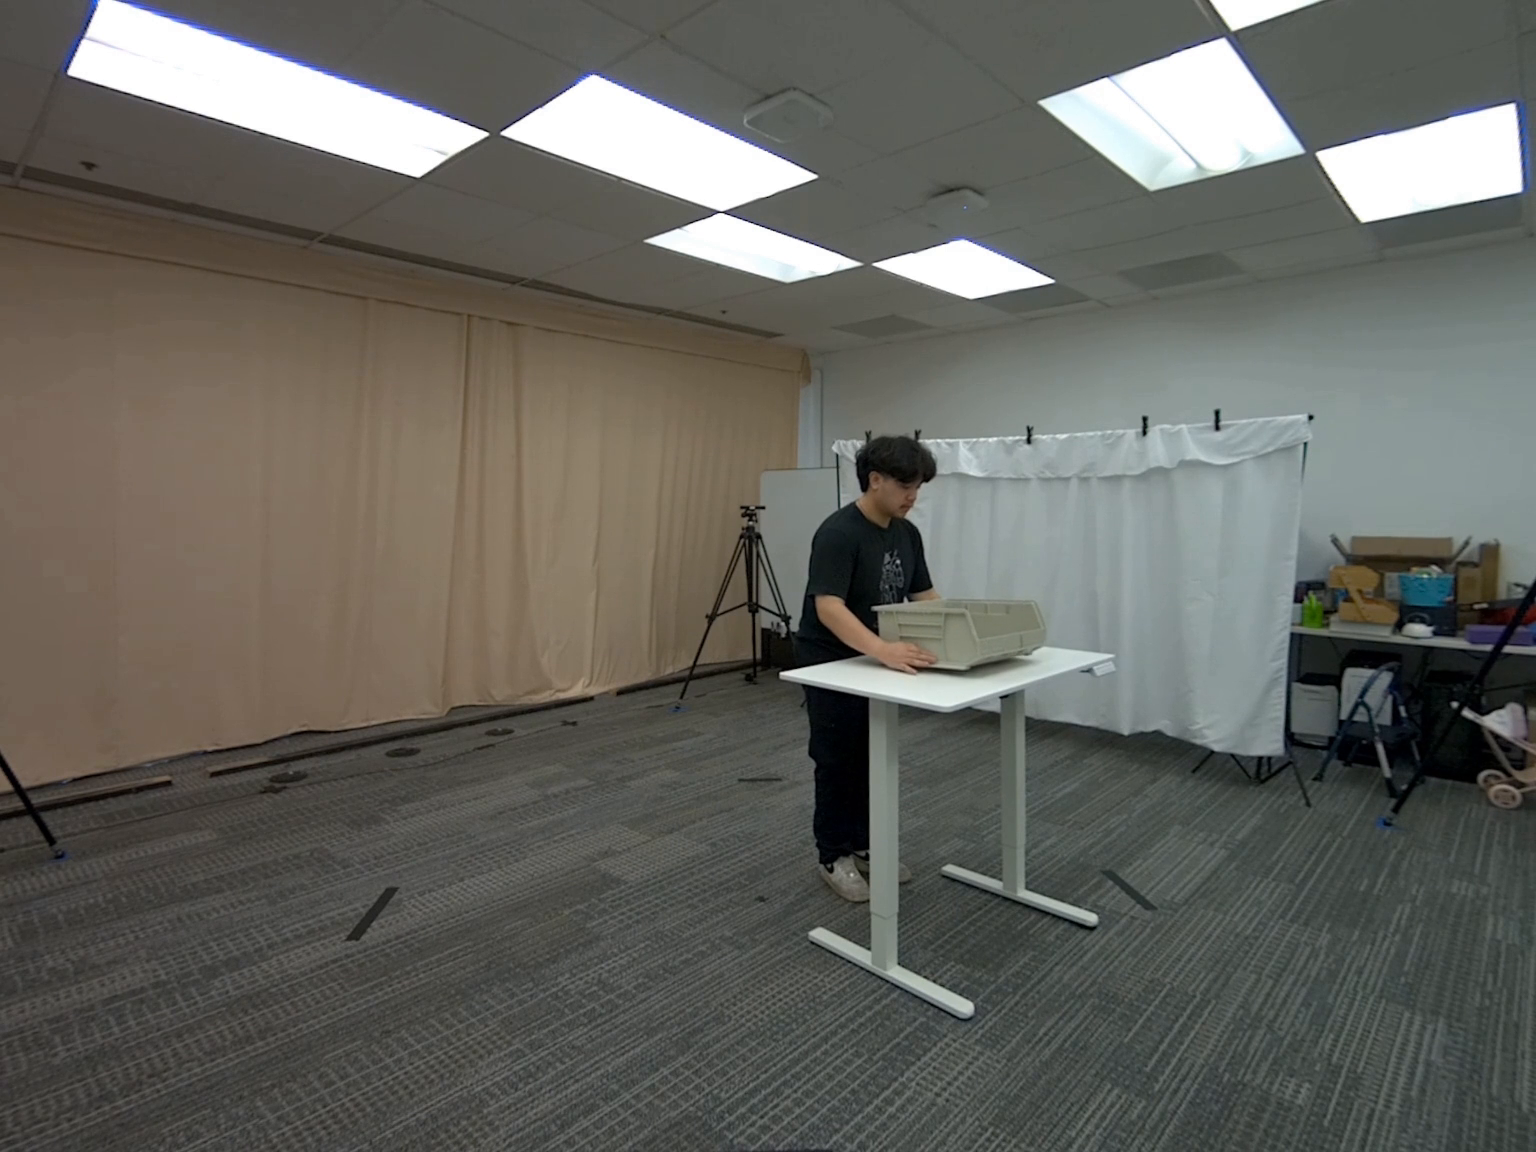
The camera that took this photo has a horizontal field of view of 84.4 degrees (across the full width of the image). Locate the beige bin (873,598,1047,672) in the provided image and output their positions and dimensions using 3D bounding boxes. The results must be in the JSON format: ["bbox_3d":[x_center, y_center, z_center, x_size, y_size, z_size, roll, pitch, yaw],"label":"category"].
[{"bbox_3d":[0.635,0.180,2.699,0.409,0.189,0.389,-4,0,-45],"label":"beige bin"}]
